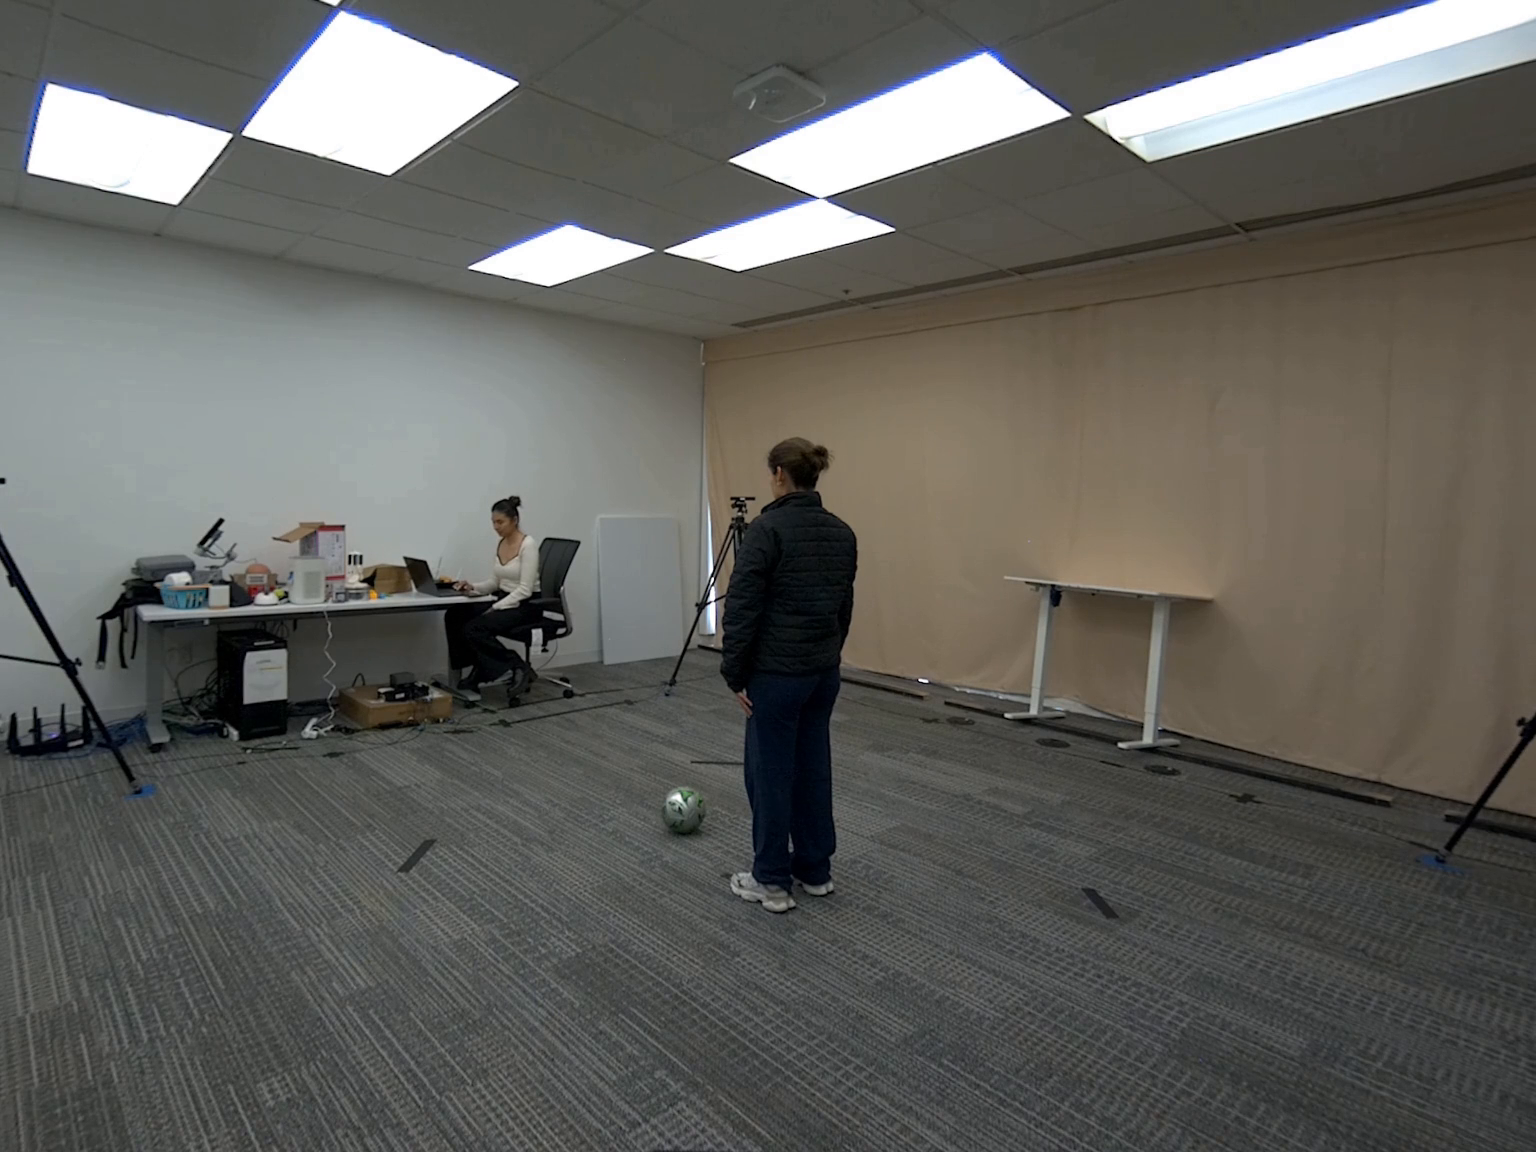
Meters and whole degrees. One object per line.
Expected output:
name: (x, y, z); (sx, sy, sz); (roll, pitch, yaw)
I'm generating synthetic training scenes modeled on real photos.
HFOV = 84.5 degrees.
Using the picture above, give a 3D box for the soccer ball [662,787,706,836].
soccer ball: (-0.361, 0.973, 3.506); (0.187, 0.187, 0.188); (1, 4, -1)
